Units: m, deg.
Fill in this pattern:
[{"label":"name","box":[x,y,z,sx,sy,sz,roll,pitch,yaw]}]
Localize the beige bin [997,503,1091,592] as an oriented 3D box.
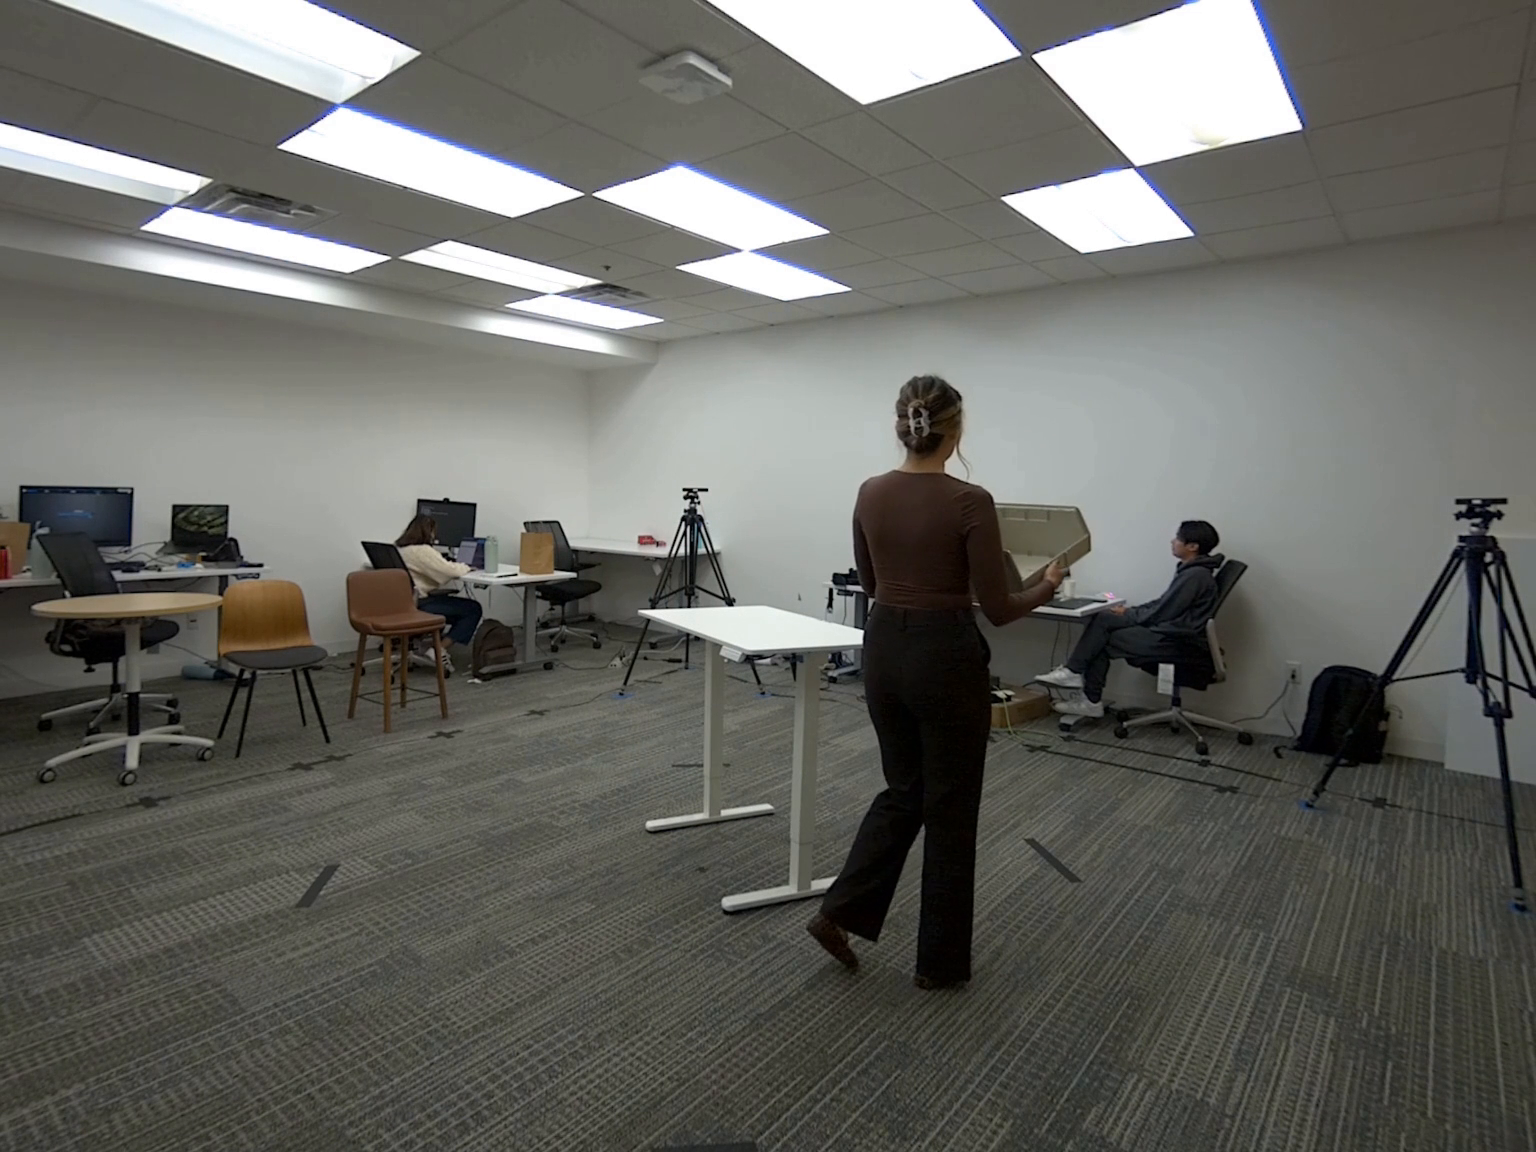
[{"label":"beige bin","box":[0.716,-0.074,2.646,0.415,0.185,0.390,-25,22,-37]}]
